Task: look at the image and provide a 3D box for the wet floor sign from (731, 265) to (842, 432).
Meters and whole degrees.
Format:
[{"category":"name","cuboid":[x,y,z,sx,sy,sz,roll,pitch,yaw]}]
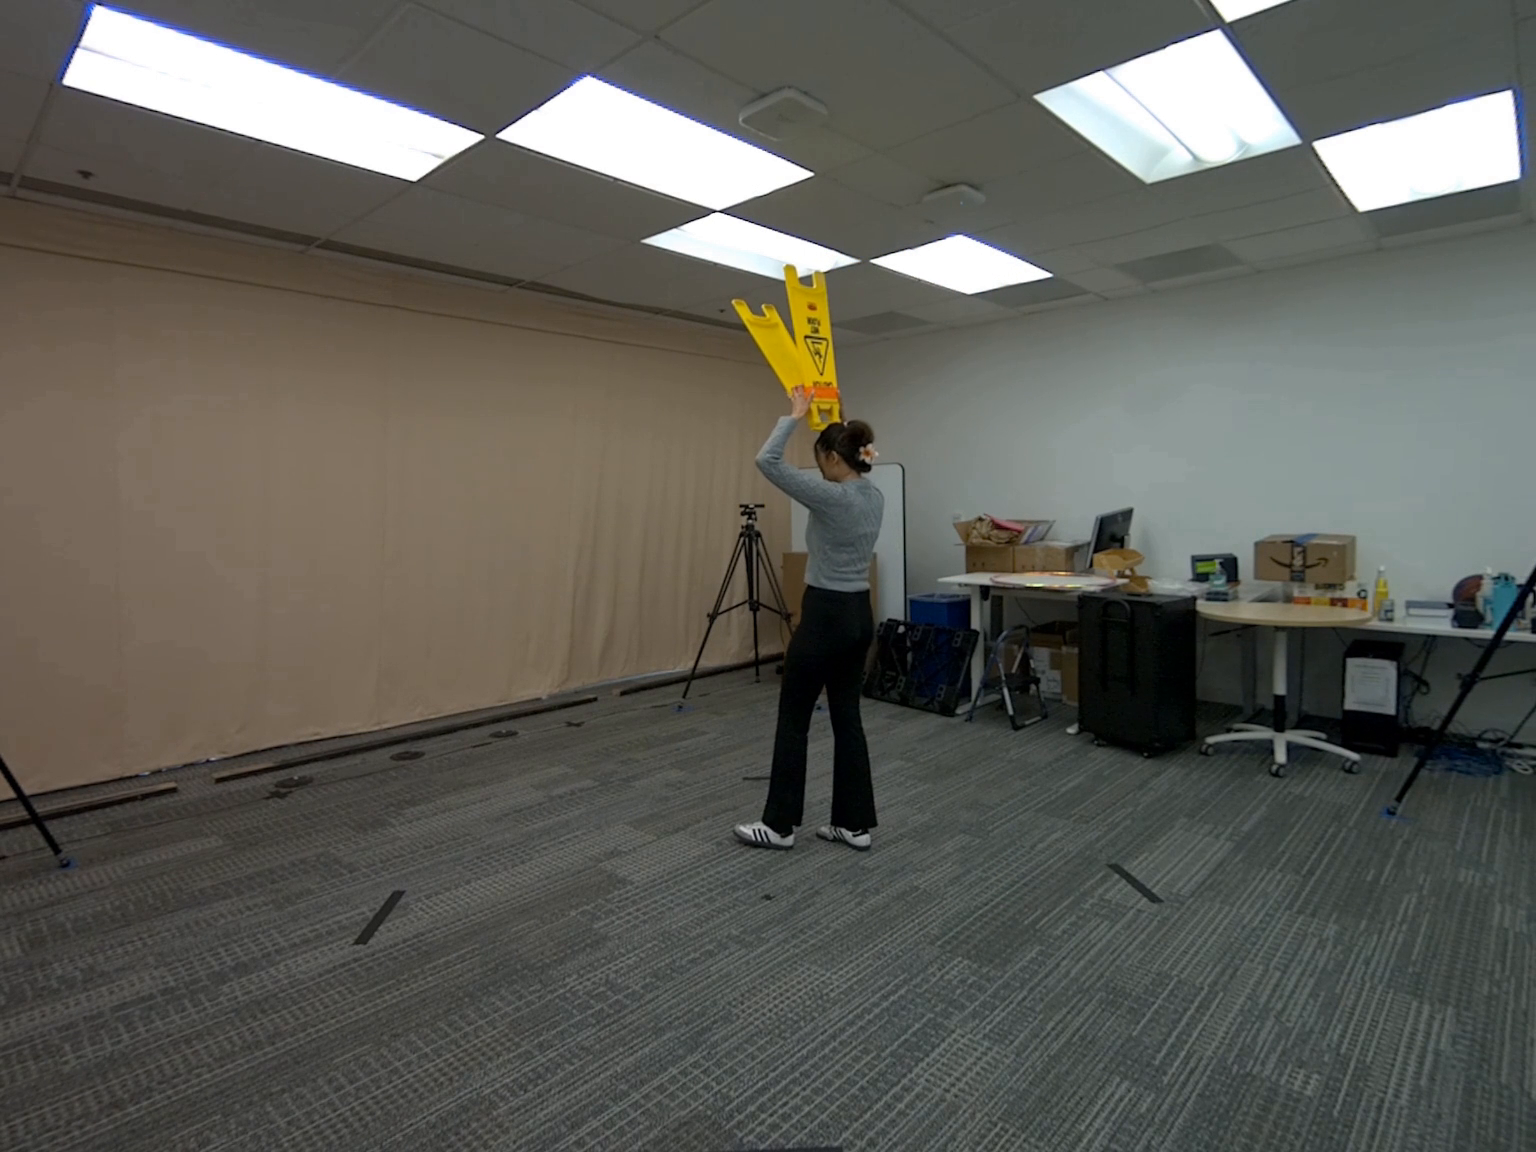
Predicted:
[{"category":"wet floor sign","cuboid":[0.144,-0.895,3.462,0.296,0.651,0.274,-25,-9,40]}]
